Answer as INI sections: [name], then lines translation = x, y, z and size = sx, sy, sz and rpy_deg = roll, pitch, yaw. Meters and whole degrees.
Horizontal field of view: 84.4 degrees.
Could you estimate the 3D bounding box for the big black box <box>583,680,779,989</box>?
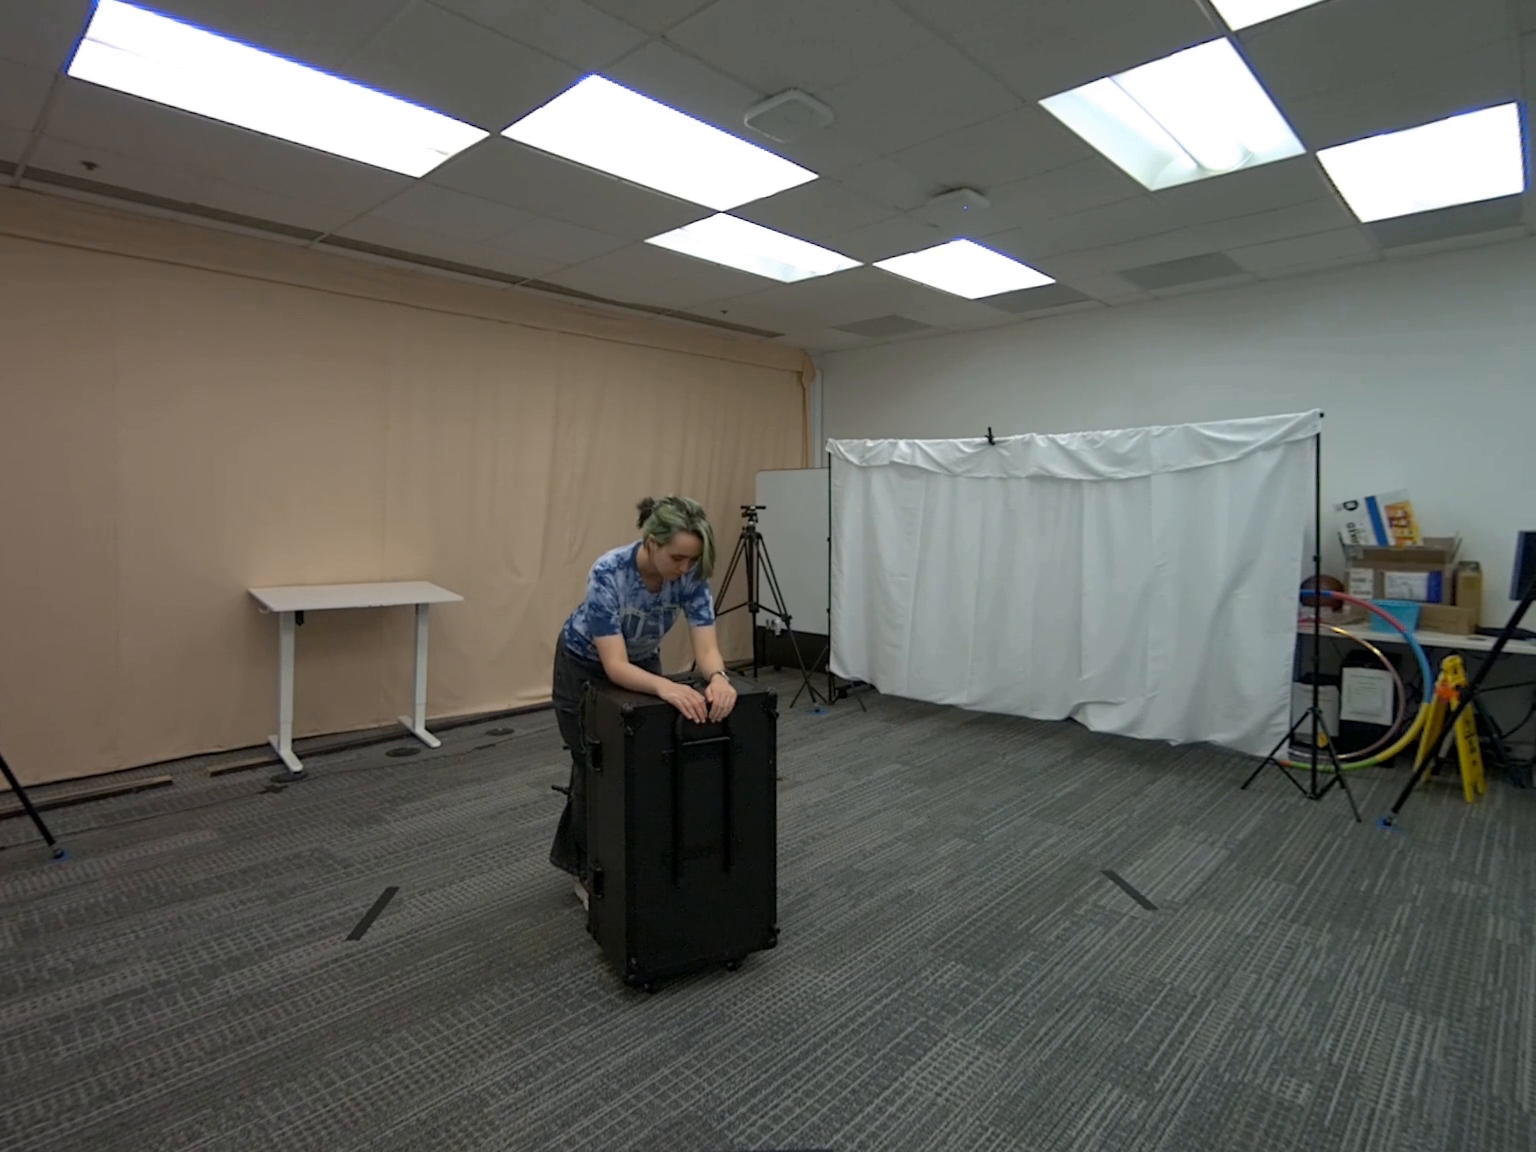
[big black box]
translation = -0.260, 0.700, 2.545
size = 0.508, 0.860, 0.407
rpy_deg = -1, 4, -28
